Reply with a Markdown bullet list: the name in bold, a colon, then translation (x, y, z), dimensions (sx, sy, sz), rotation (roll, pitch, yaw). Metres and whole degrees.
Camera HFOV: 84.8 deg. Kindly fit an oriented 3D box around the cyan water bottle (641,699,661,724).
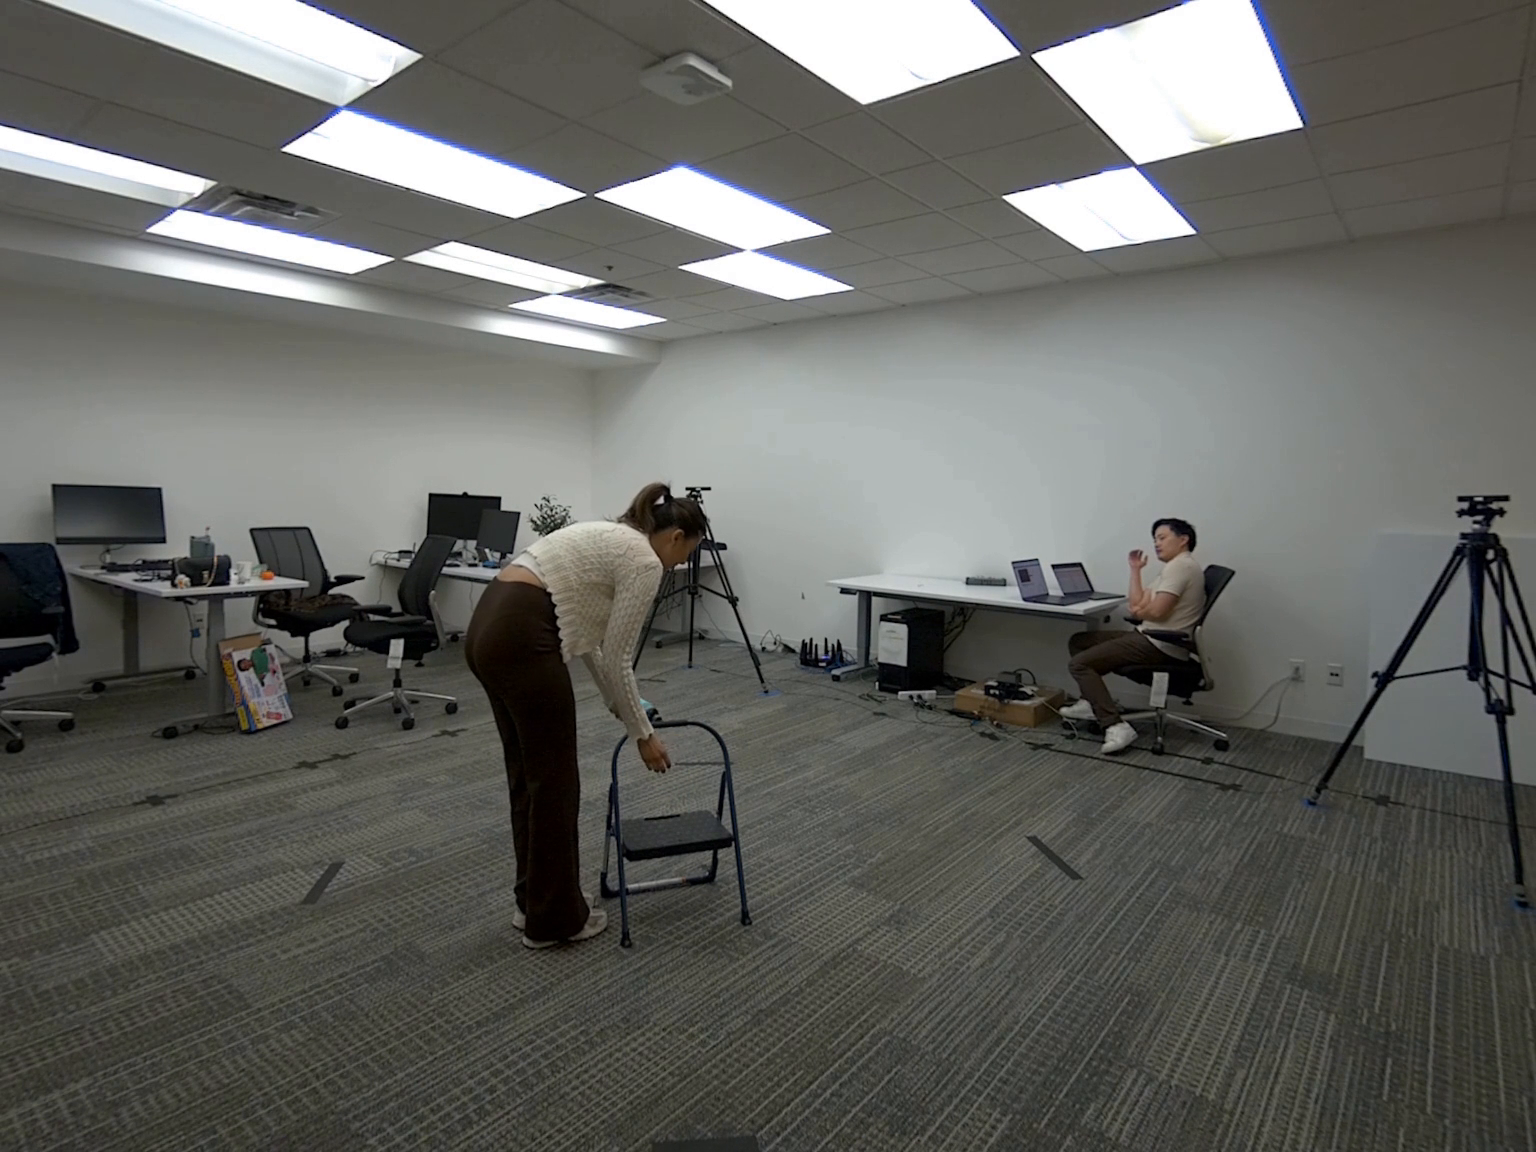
- **cyan water bottle**: translation (-0.494, 0.472, 3.057), dimensions (0.089, 0.091, 0.294), rotation (-2, 13, -39)
